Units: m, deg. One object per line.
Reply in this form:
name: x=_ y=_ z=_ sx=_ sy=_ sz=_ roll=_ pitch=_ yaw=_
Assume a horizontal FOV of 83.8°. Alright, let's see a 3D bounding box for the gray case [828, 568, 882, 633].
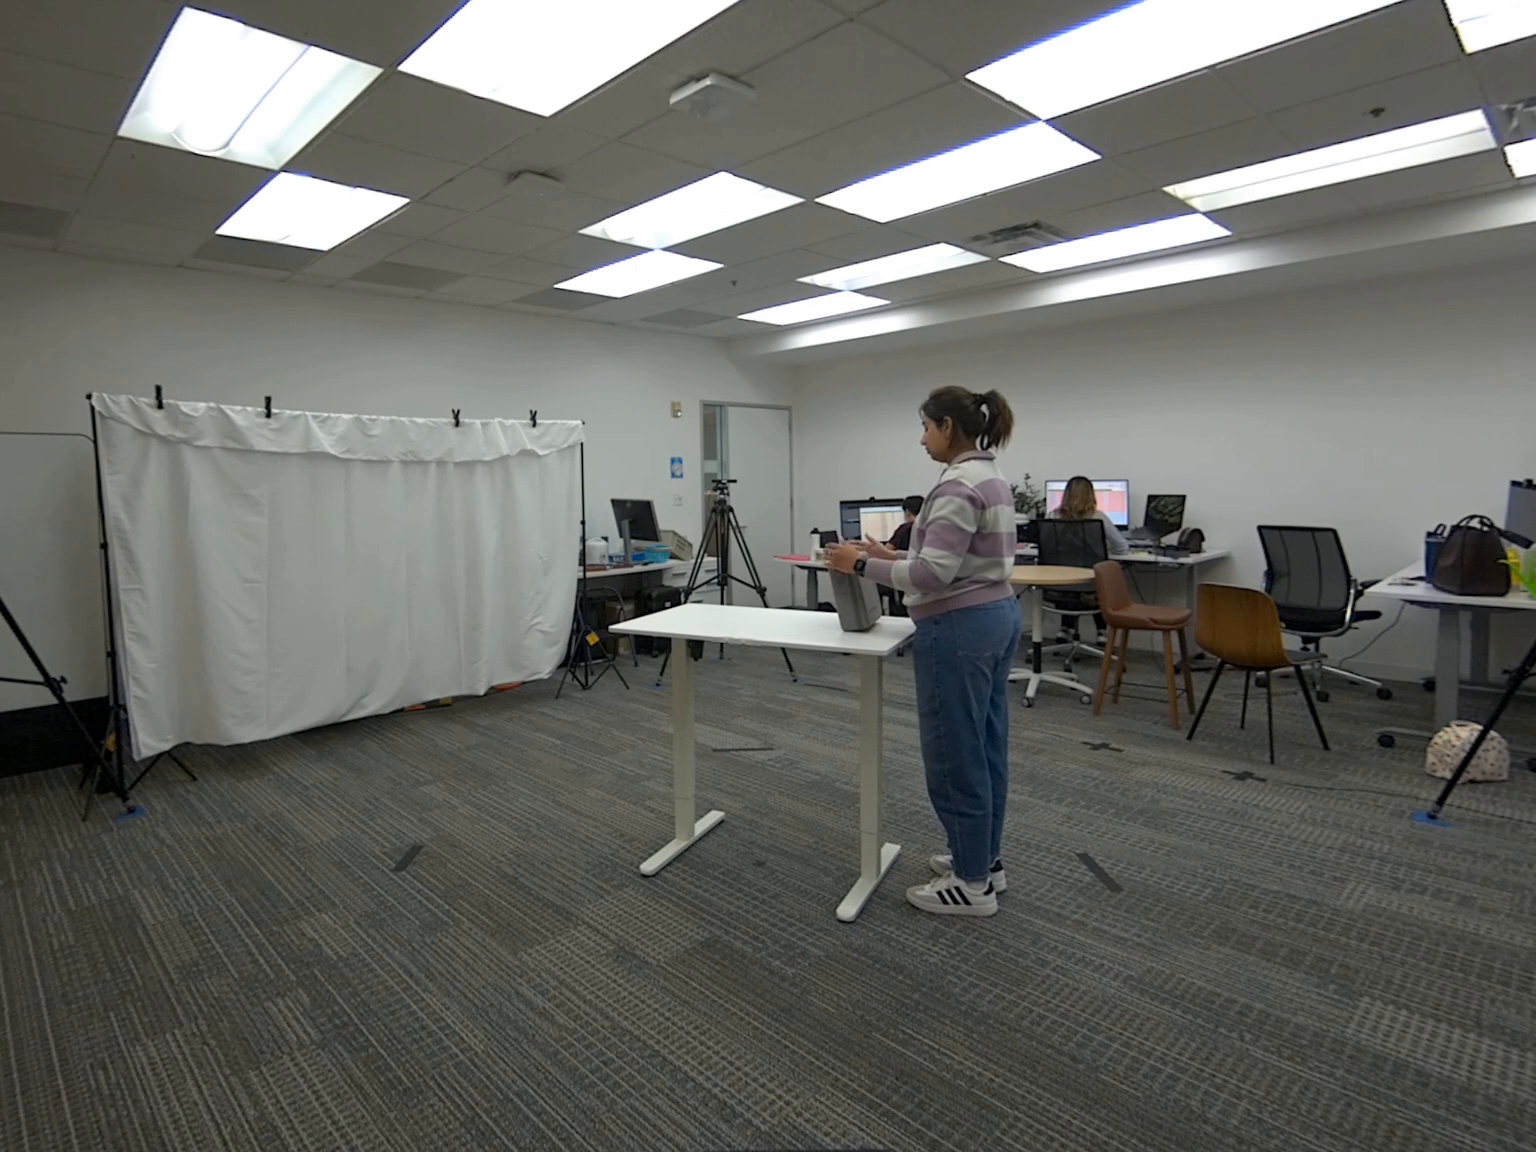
gray case: x=0.301 y=0.047 z=2.960 sx=0.106 sy=0.260 sz=0.254 roll=-13 pitch=1 yaw=18
